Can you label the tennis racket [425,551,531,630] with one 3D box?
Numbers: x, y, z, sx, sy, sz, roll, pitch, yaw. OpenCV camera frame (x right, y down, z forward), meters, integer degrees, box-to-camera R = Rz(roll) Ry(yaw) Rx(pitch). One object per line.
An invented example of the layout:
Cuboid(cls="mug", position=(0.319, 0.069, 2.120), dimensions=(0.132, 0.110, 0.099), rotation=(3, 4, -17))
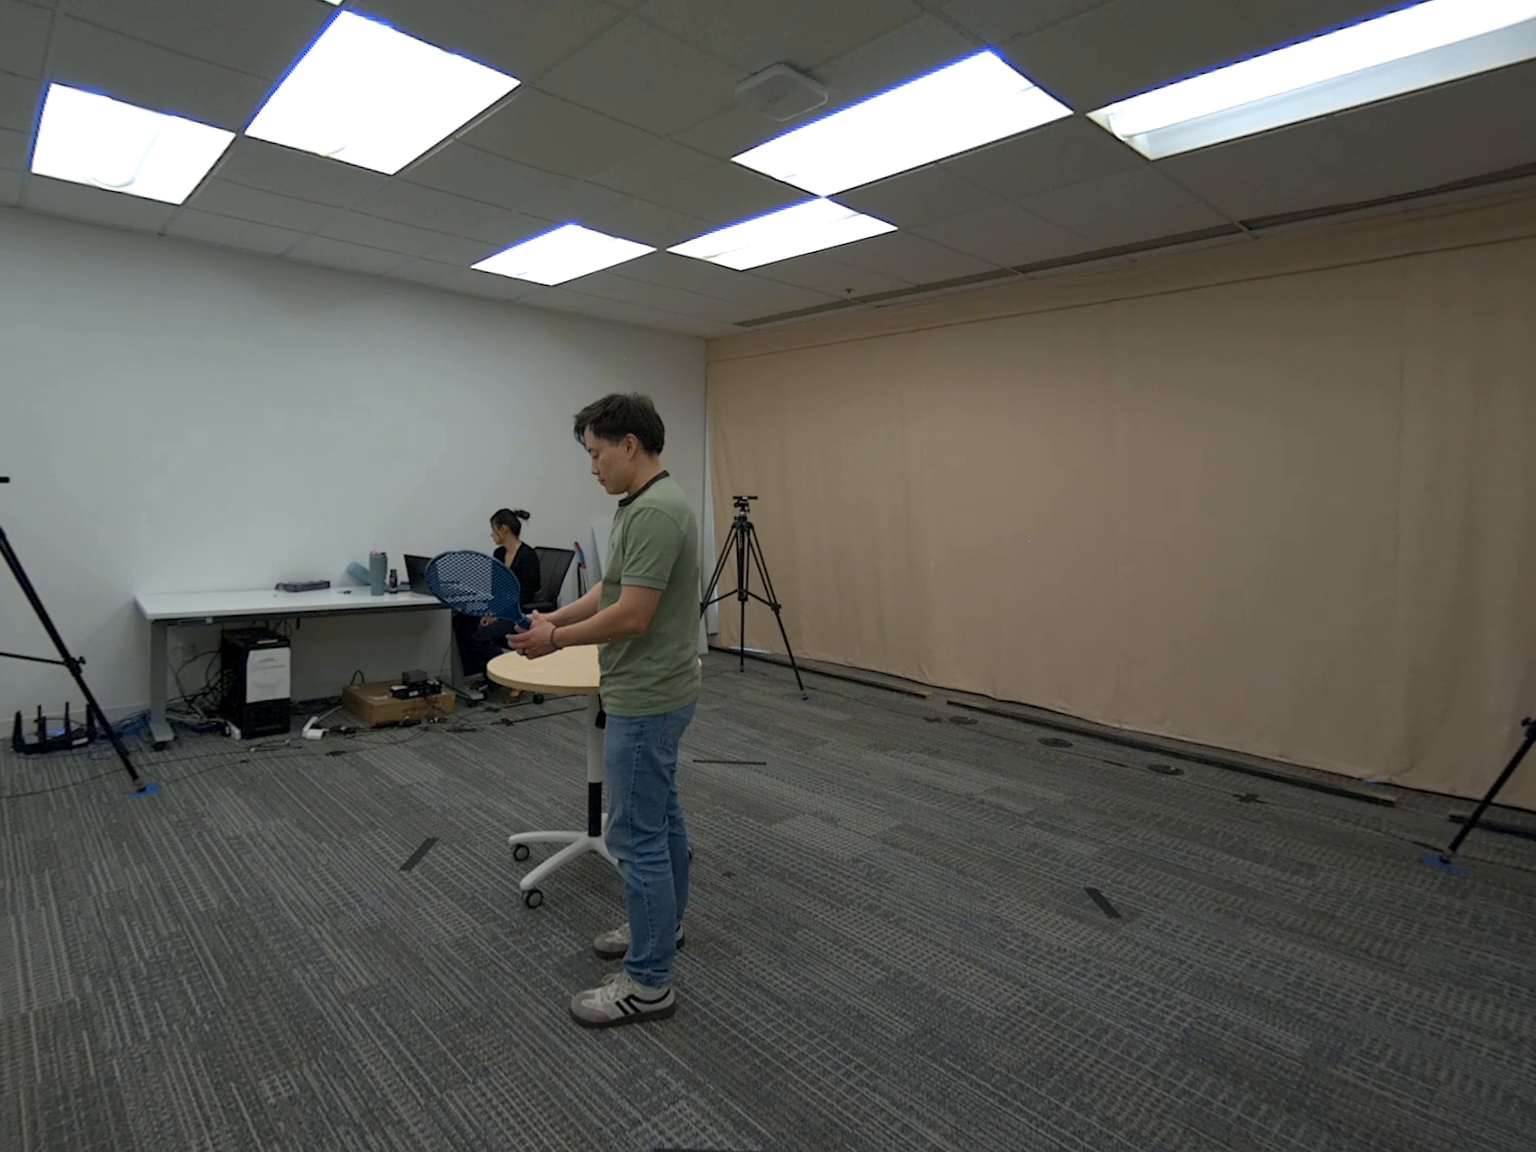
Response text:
Cuboid(cls="tennis racket", position=(-0.731, 0.073, 2.283), dimensions=(0.214, 0.420, 0.032), rotation=(-32, 37, 12))
